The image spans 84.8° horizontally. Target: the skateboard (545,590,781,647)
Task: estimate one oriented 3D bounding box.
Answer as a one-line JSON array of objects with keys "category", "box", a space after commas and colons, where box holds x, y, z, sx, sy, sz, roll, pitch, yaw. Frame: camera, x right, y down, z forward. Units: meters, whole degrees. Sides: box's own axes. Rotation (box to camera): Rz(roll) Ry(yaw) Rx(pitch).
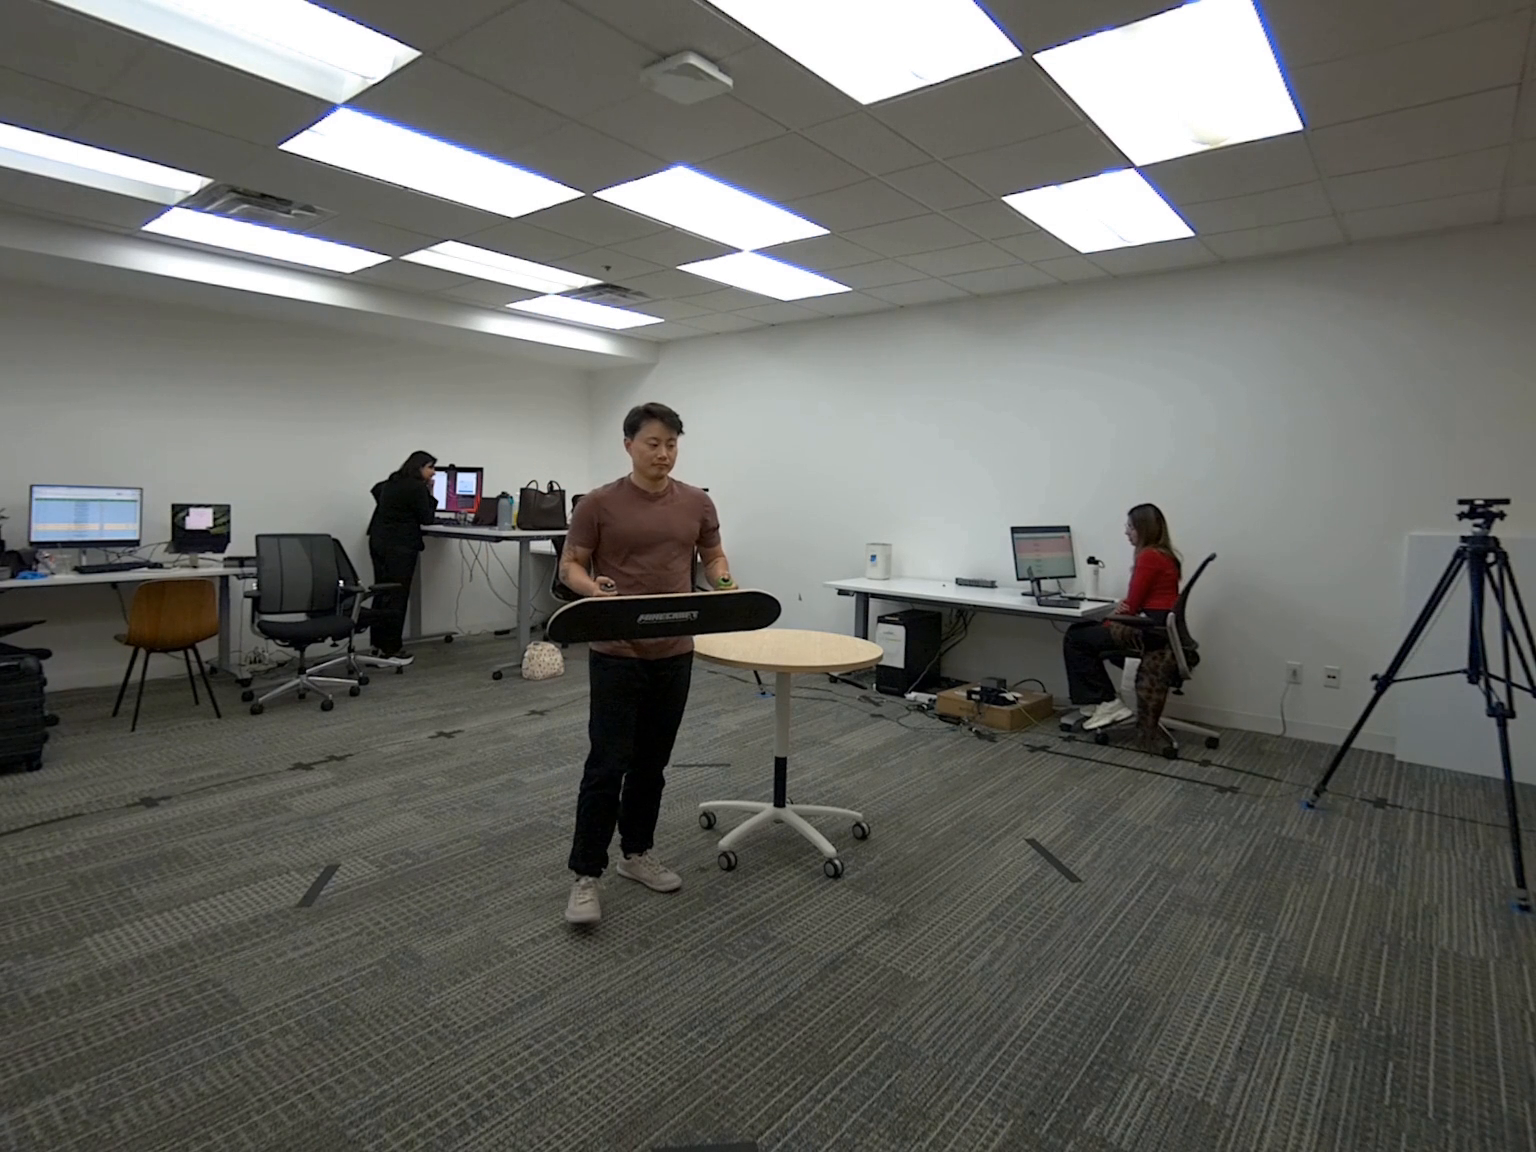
[{"category": "skateboard", "box": [-0.346, 0.112, 2.795, 0.771, 0.189, 0.115, -3, 39, -19]}]
